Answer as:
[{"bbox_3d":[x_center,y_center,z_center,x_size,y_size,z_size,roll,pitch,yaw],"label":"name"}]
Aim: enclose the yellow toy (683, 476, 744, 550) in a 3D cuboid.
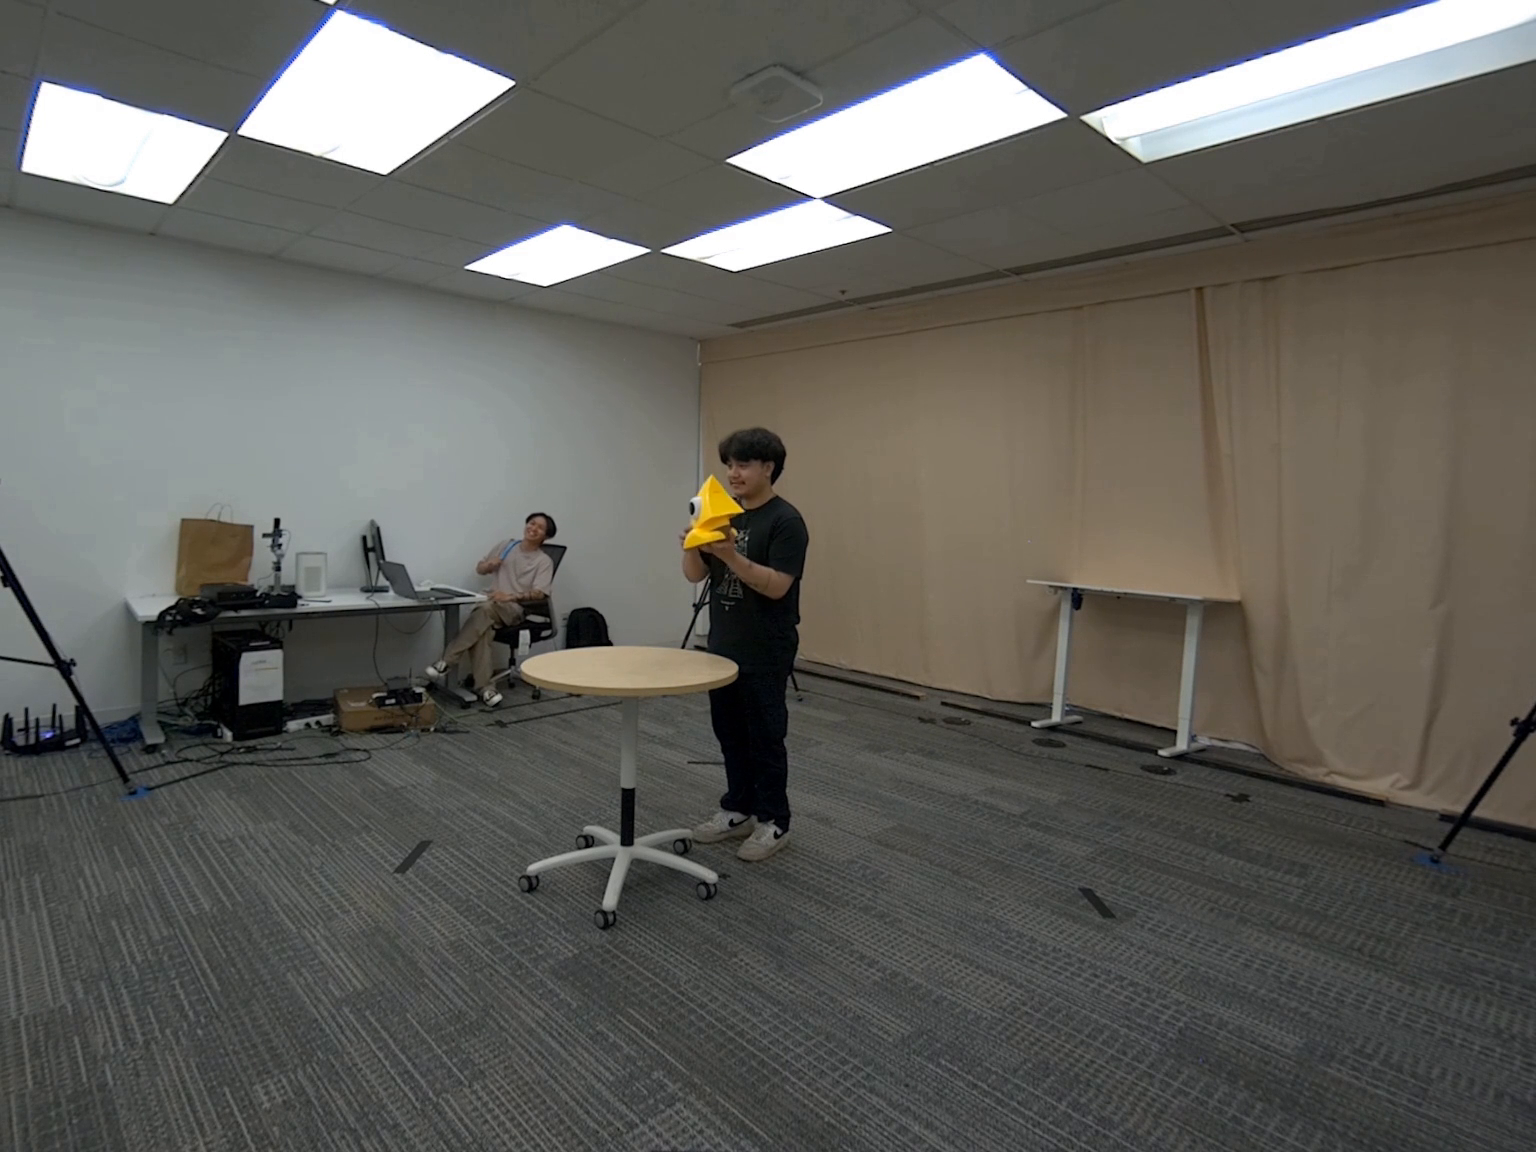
[{"bbox_3d":[-0.233,-0.237,3.009,0.196,0.231,0.201,-14,-1,33],"label":"yellow toy"}]
